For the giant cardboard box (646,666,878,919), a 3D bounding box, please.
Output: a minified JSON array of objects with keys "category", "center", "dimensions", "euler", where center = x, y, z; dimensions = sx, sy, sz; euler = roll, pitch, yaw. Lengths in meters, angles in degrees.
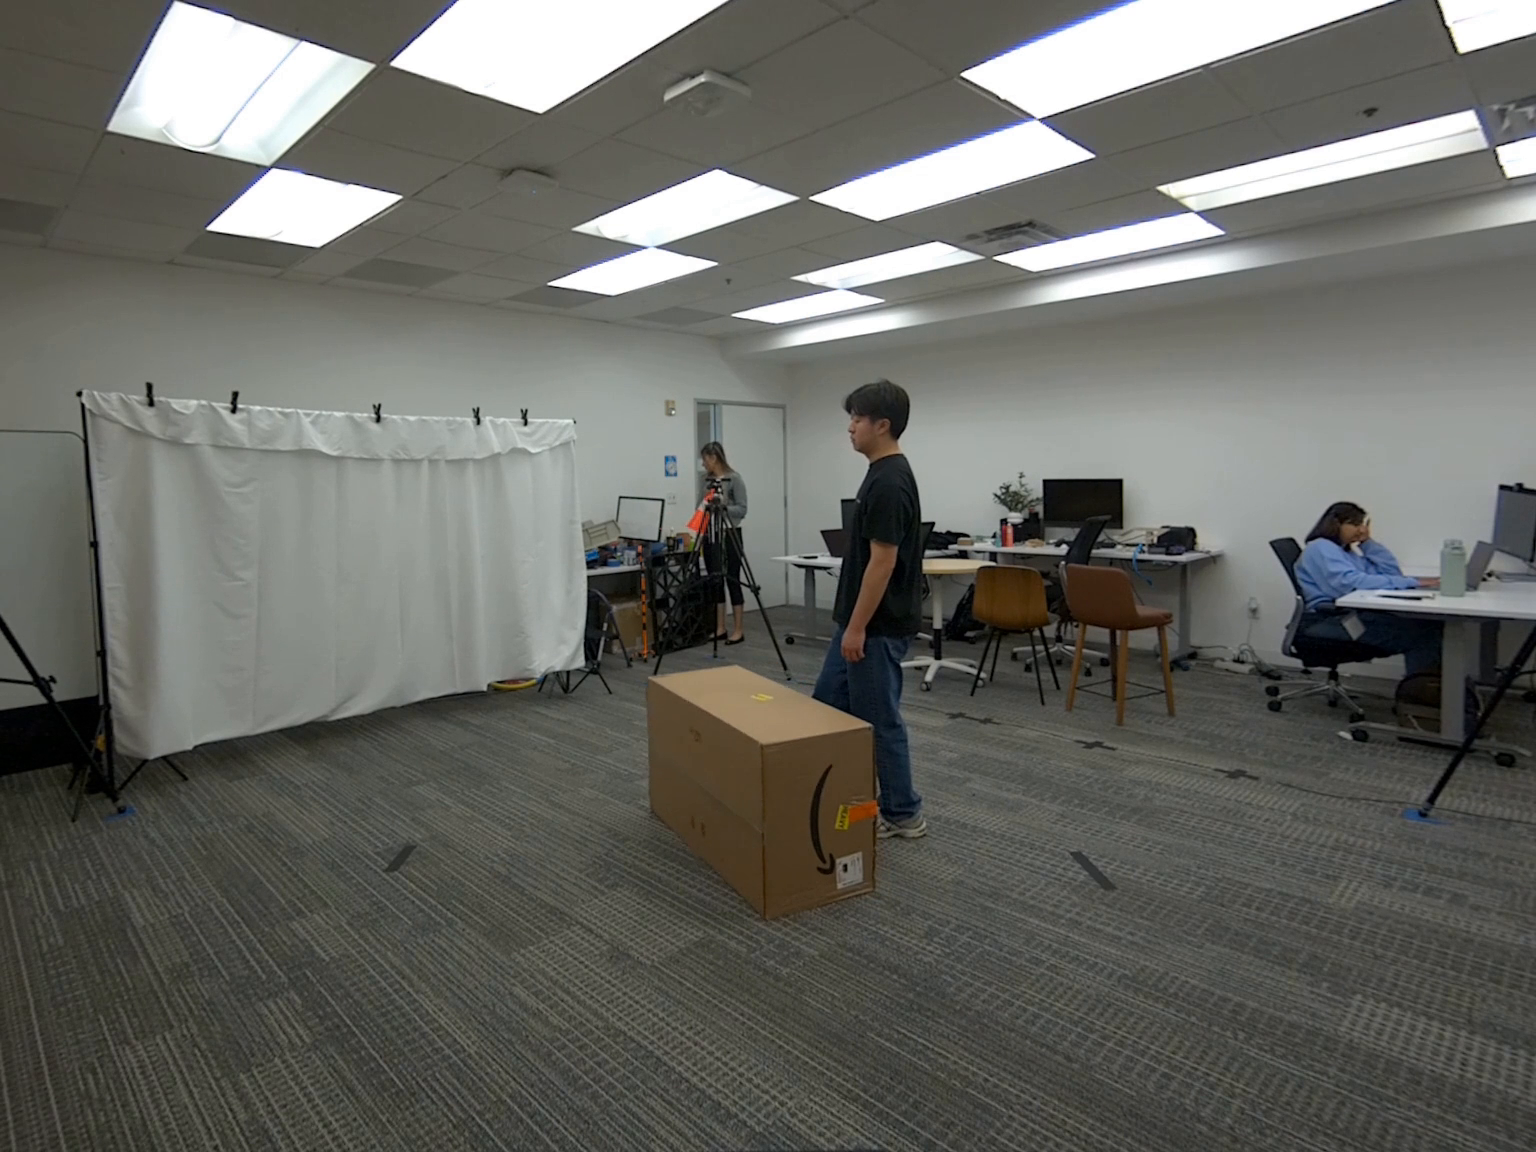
[{"category":"giant cardboard box","center":[-0.071,0.743,3.221],"dimensions":[0.437,0.581,1.055],"euler":[-2,6,-28]}]
